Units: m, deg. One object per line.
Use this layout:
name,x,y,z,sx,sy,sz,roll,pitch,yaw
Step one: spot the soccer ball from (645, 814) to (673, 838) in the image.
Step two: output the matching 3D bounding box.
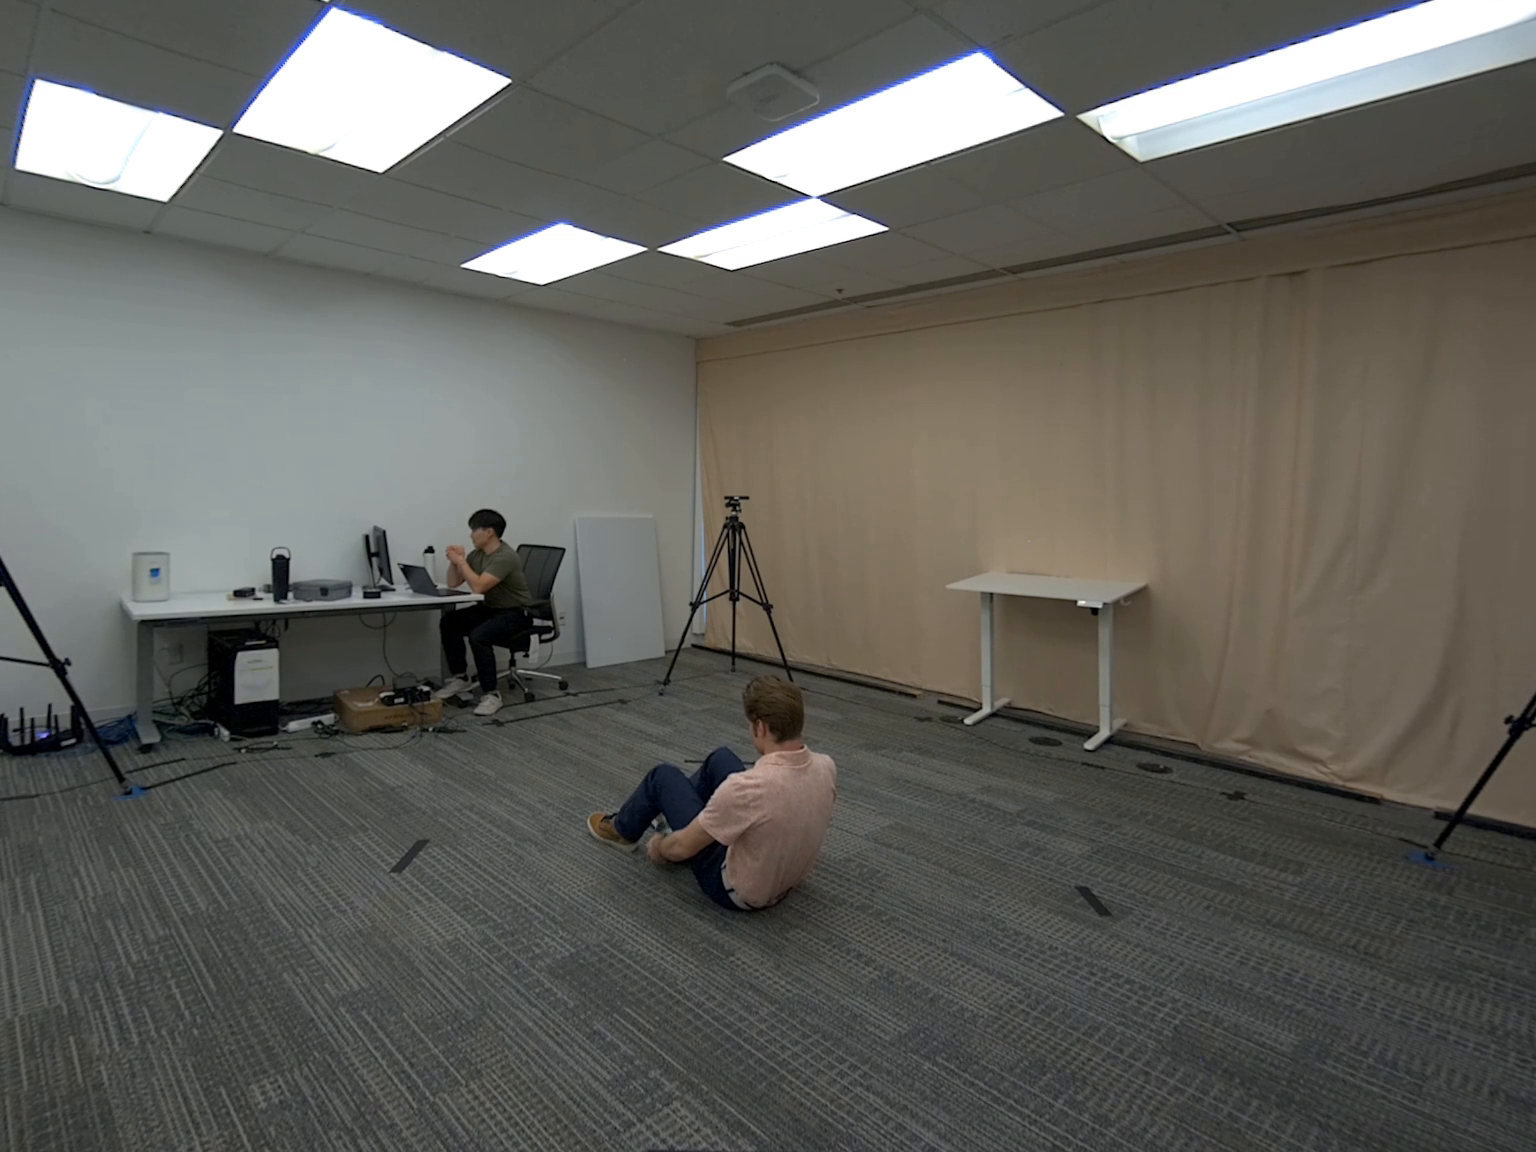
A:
soccer ball,-0.334,0.992,3.212,0.187,0.187,0.188,1,4,-1
